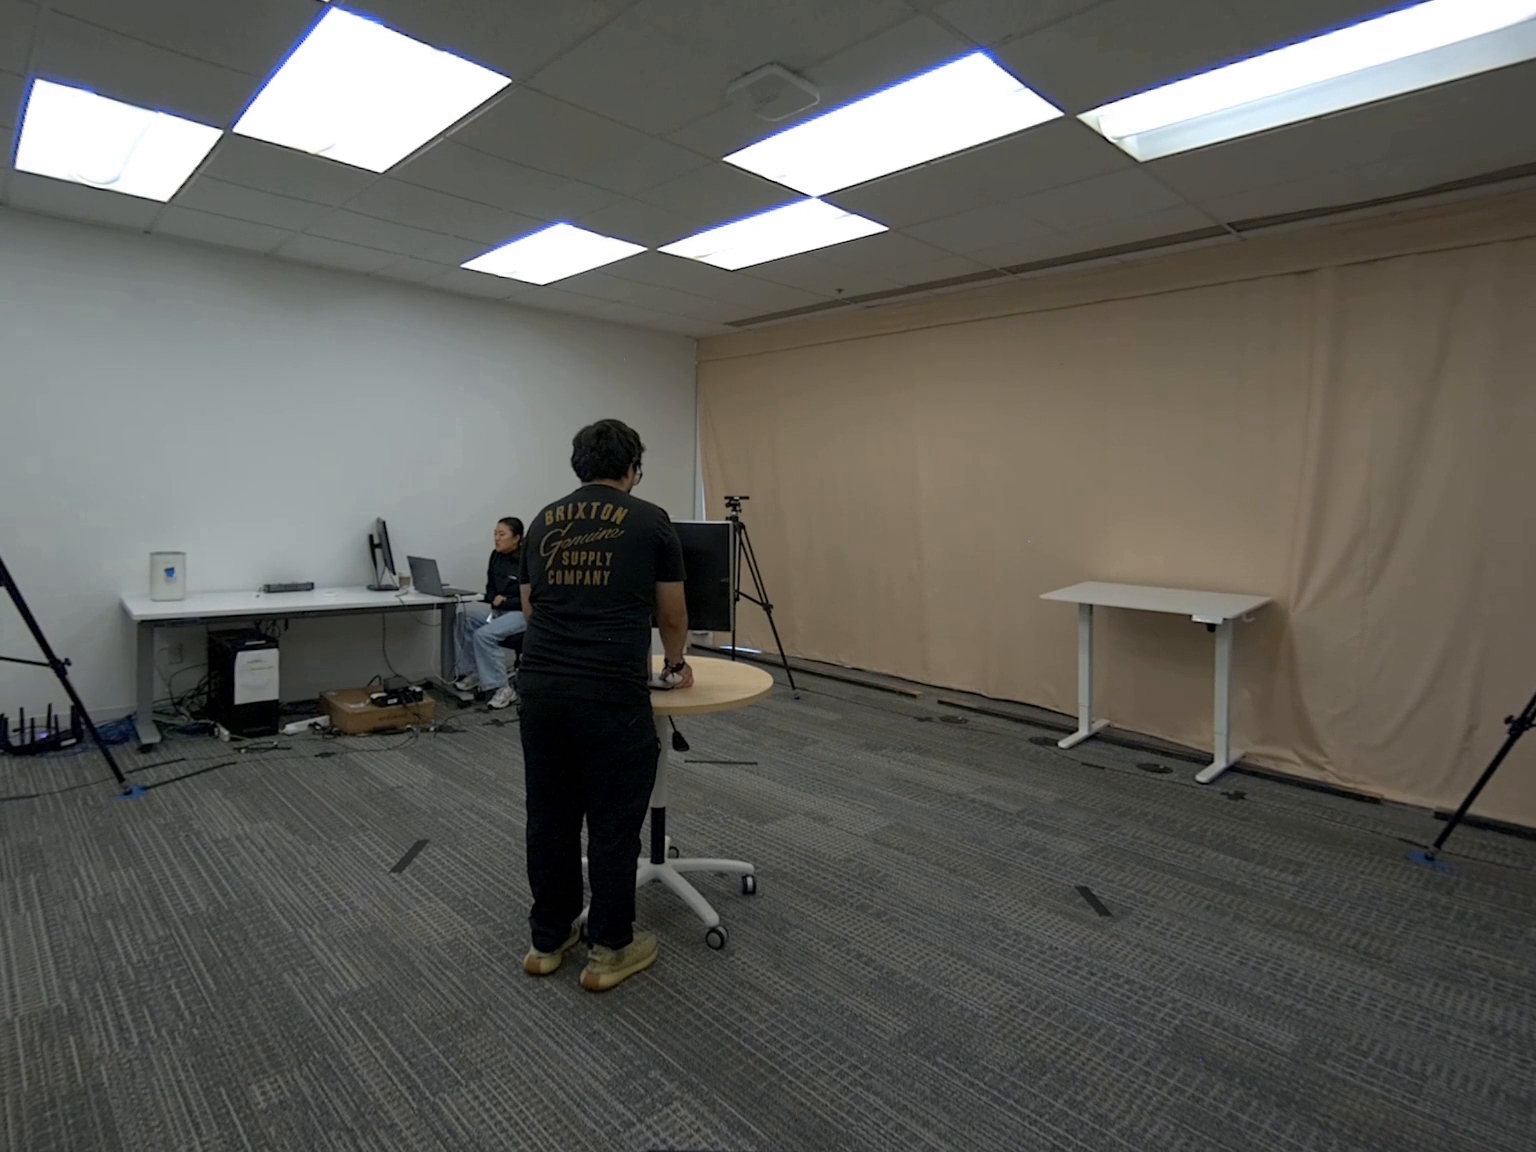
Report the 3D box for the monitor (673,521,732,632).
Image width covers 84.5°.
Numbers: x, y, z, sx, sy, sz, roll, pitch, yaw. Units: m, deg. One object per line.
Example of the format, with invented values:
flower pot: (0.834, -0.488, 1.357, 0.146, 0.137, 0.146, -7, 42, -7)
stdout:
monitor: (-0.404, 0.093, 2.740, 0.573, 0.552, 0.208, 3, 5, 18)
